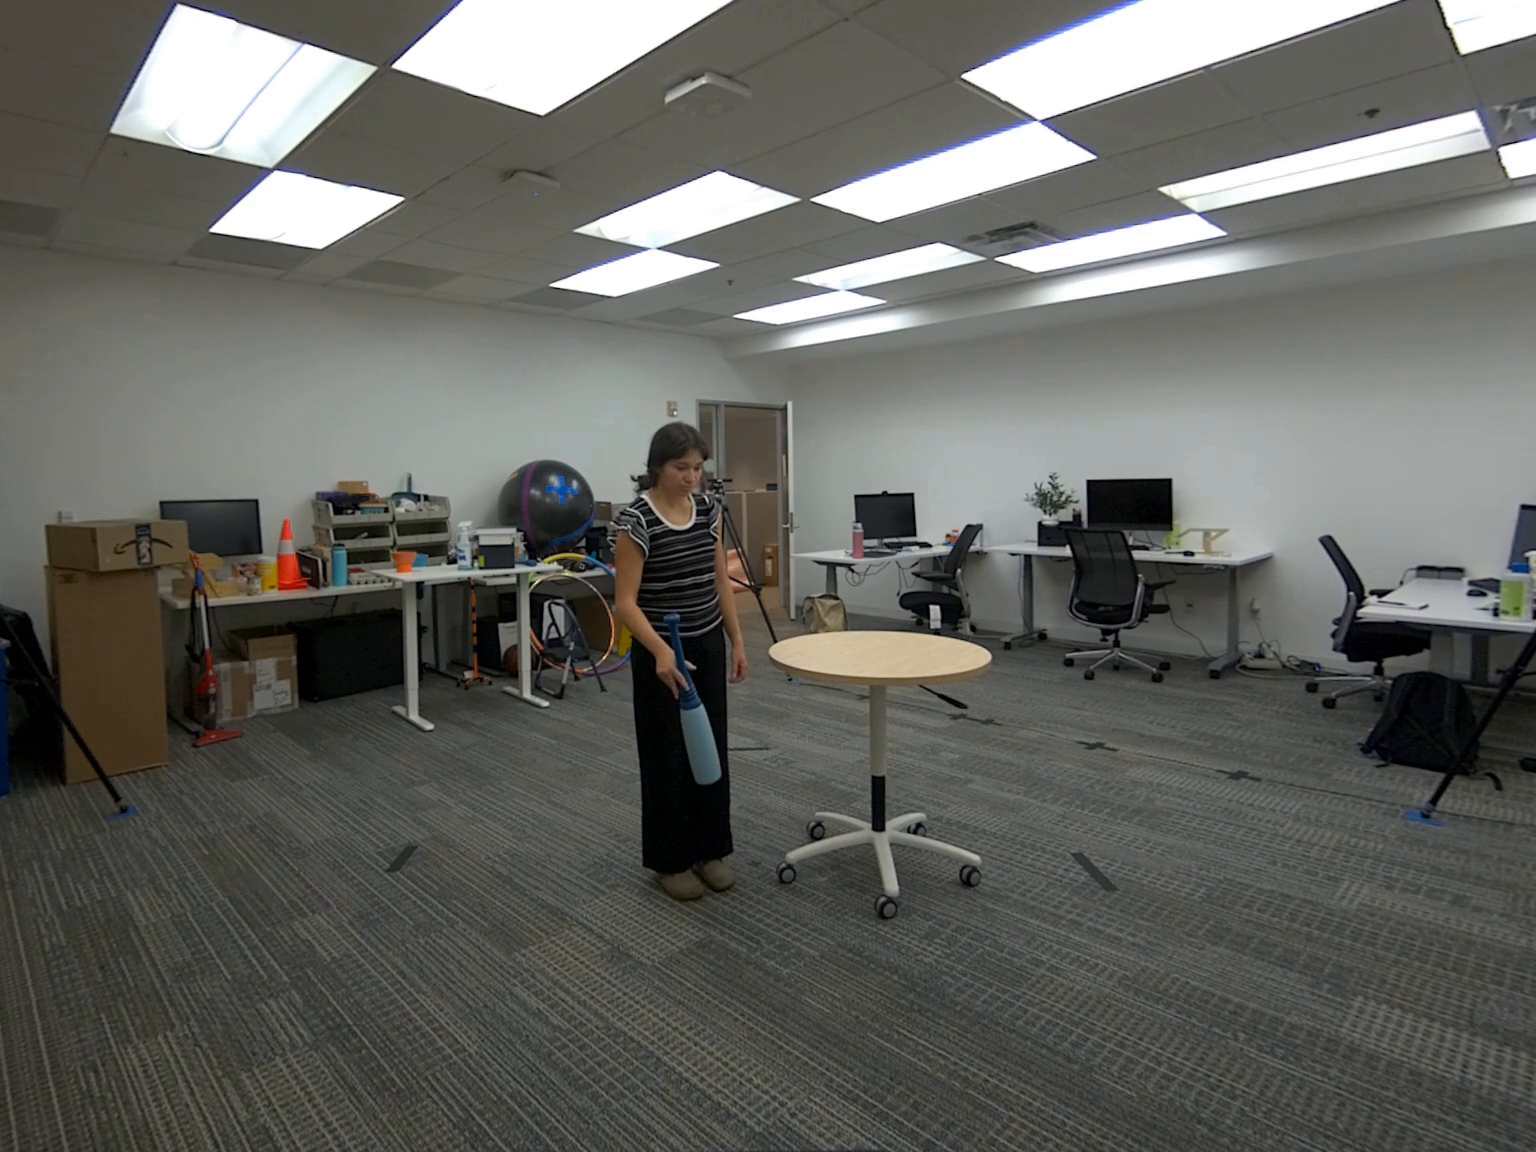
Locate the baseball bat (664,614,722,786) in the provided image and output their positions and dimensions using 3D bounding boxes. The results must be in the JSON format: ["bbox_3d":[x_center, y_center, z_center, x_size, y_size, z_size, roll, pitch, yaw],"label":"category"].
[{"bbox_3d":[-0.246,0.374,2.595,0.089,0.536,0.090,-13,11,1],"label":"baseball bat"}]
